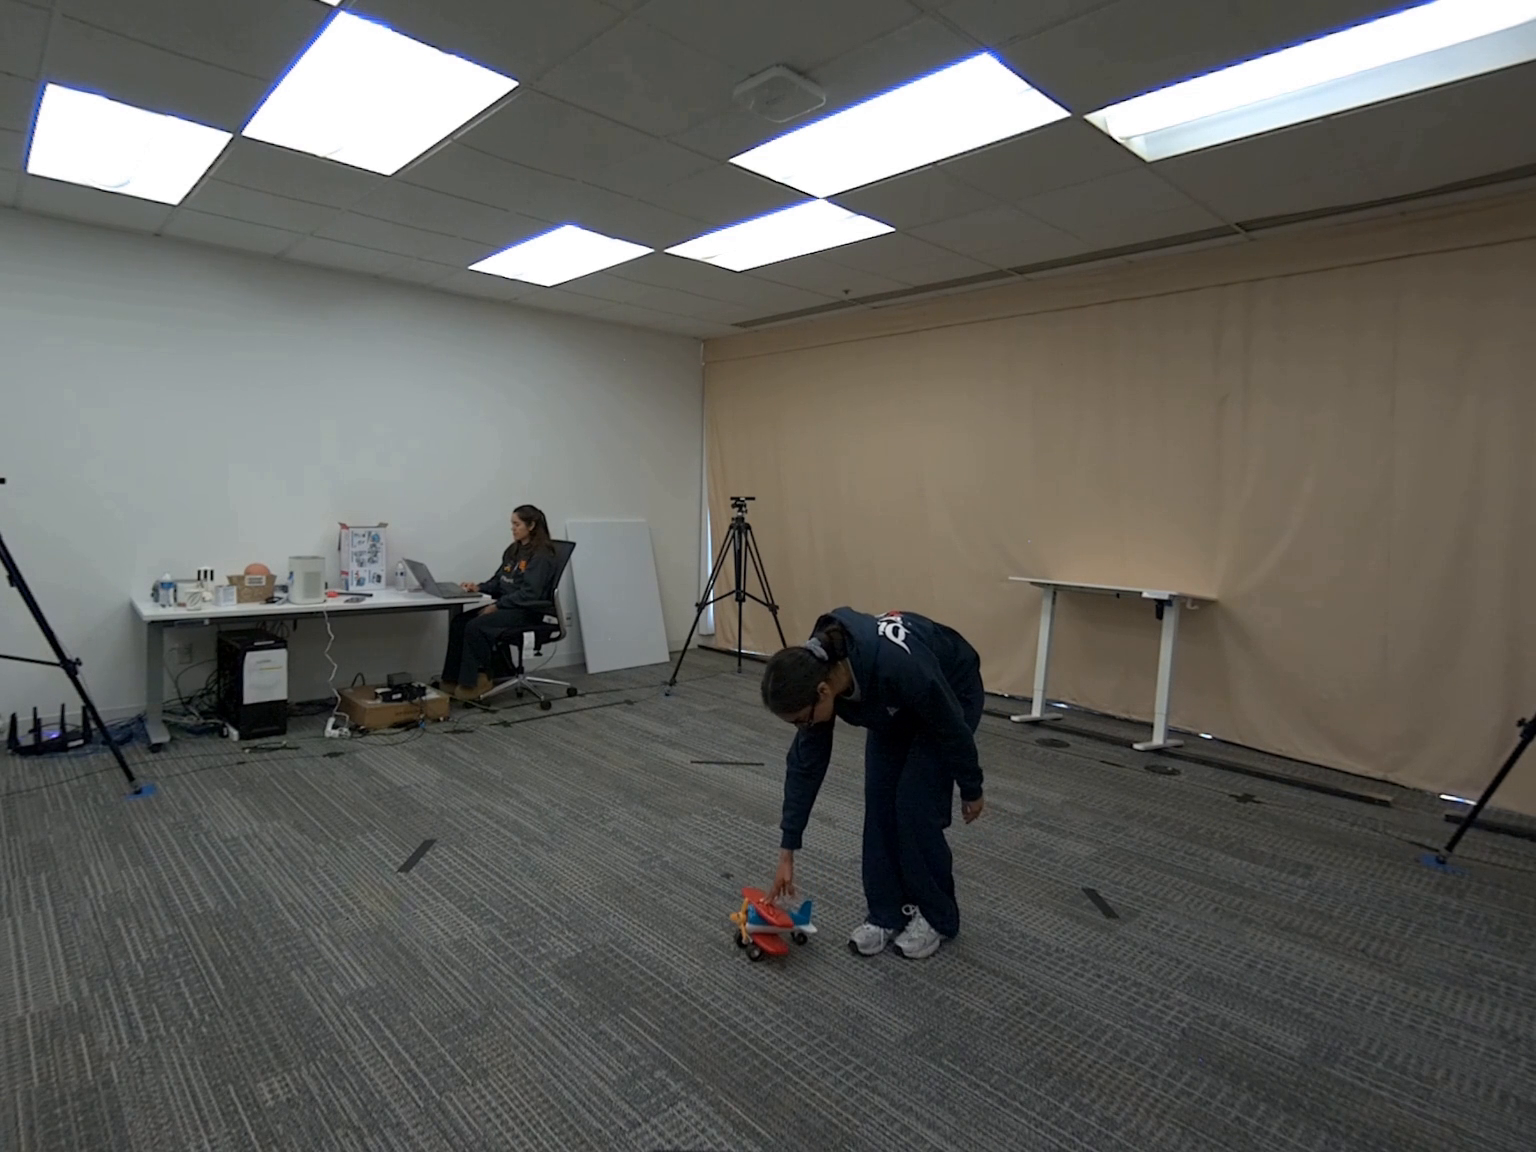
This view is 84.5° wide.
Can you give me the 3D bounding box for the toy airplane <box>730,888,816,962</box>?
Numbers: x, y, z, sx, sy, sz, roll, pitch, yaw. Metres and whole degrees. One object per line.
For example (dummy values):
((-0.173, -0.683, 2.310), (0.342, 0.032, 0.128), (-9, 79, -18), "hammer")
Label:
((0.012, 1.076, 2.623), (0.257, 0.156, 0.254), (5, 8, 34), "toy airplane")
